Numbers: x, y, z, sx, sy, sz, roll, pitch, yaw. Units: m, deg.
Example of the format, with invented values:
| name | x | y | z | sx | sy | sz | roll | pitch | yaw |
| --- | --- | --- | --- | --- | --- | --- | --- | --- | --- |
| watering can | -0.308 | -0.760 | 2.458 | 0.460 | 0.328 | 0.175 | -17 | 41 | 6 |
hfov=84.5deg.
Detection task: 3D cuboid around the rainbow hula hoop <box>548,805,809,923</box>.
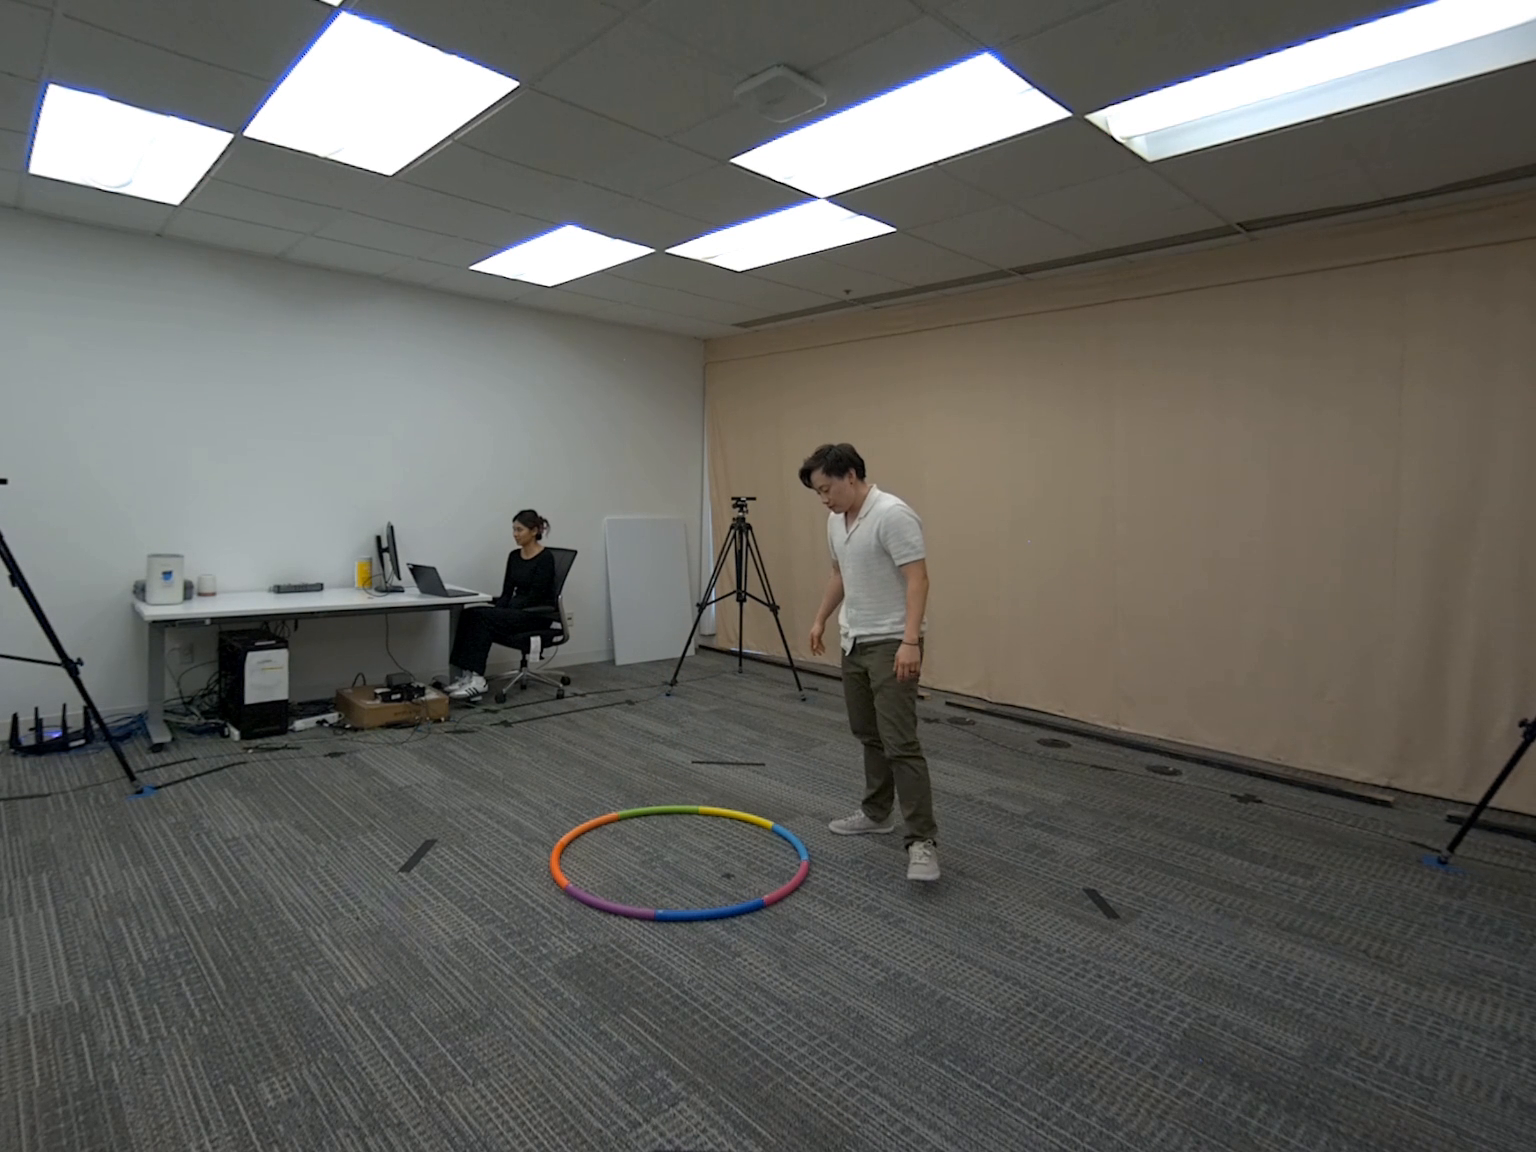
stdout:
| name | x | y | z | sx | sy | sz | roll | pitch | yaw |
| --- | --- | --- | --- | --- | --- | --- | --- | --- | --- |
| rainbow hula hoop | -0.341 | 1.063 | 3.234 | 0.978 | 0.035 | 0.982 | 1 | 5 | -1 |
